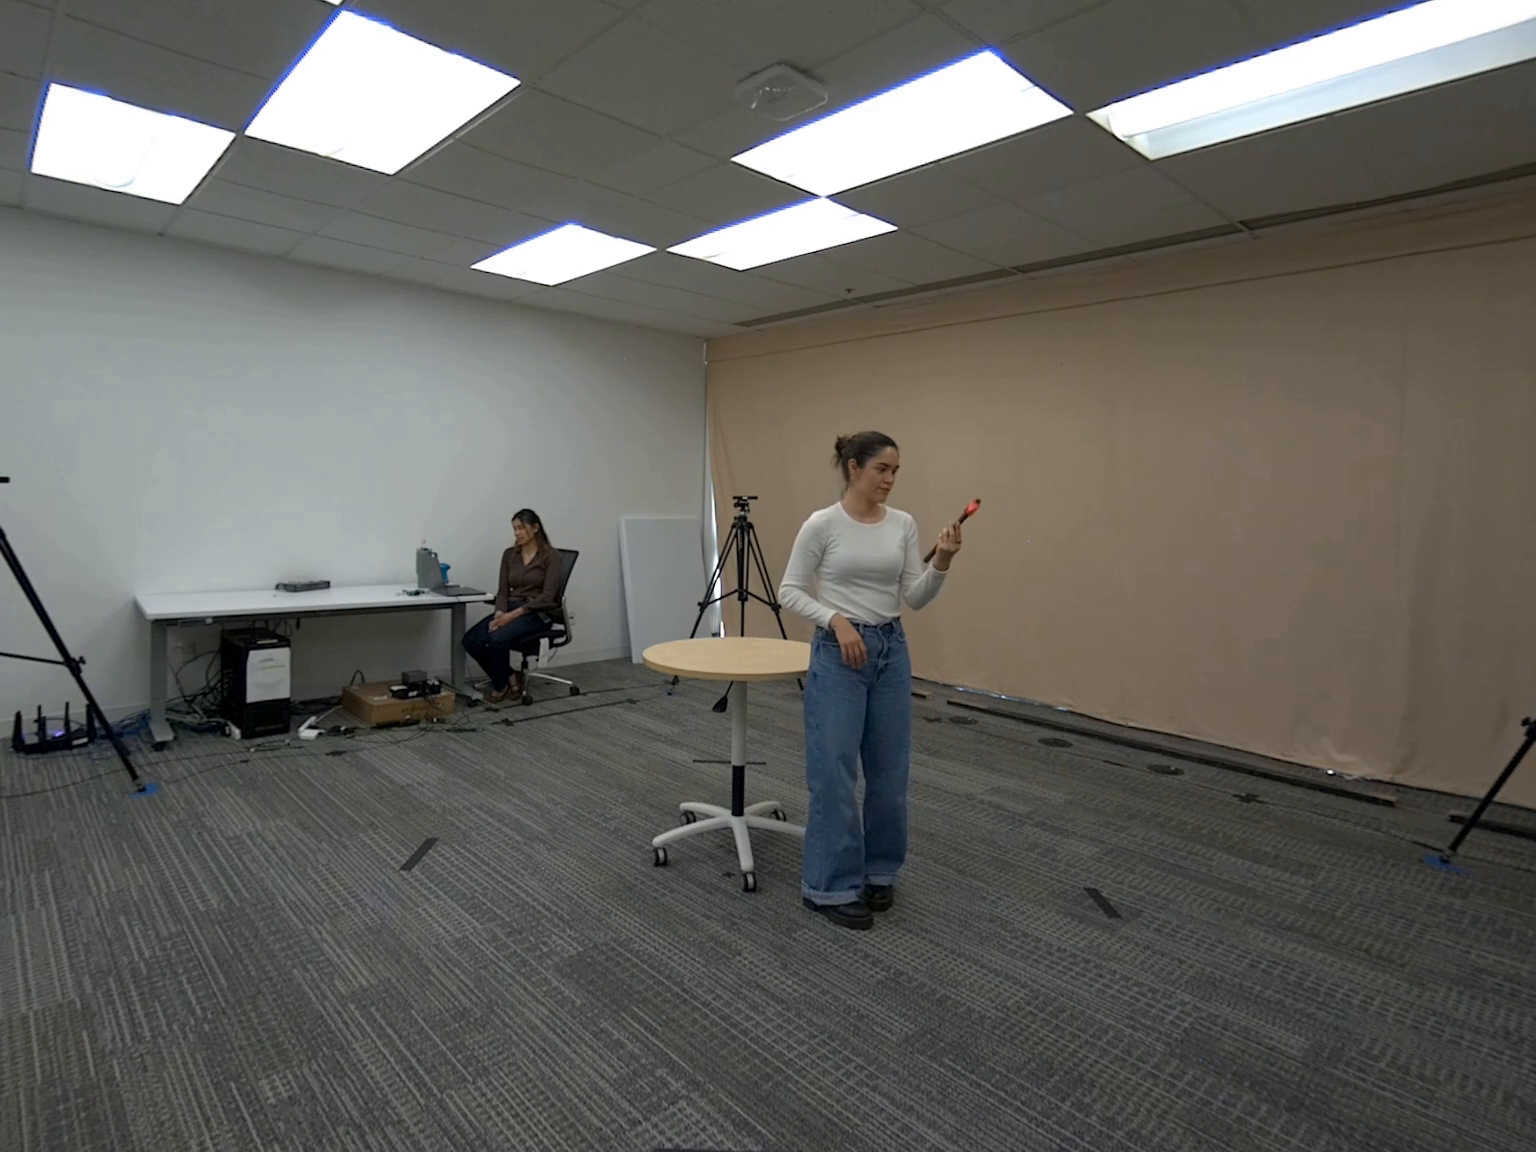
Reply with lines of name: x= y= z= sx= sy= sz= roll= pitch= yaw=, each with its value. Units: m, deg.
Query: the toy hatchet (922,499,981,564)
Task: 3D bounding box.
toy hatchet: x=0.582 y=-0.152 z=2.665 sx=0.030 sy=0.268 sz=0.130 roll=41 pitch=44 yaw=6
